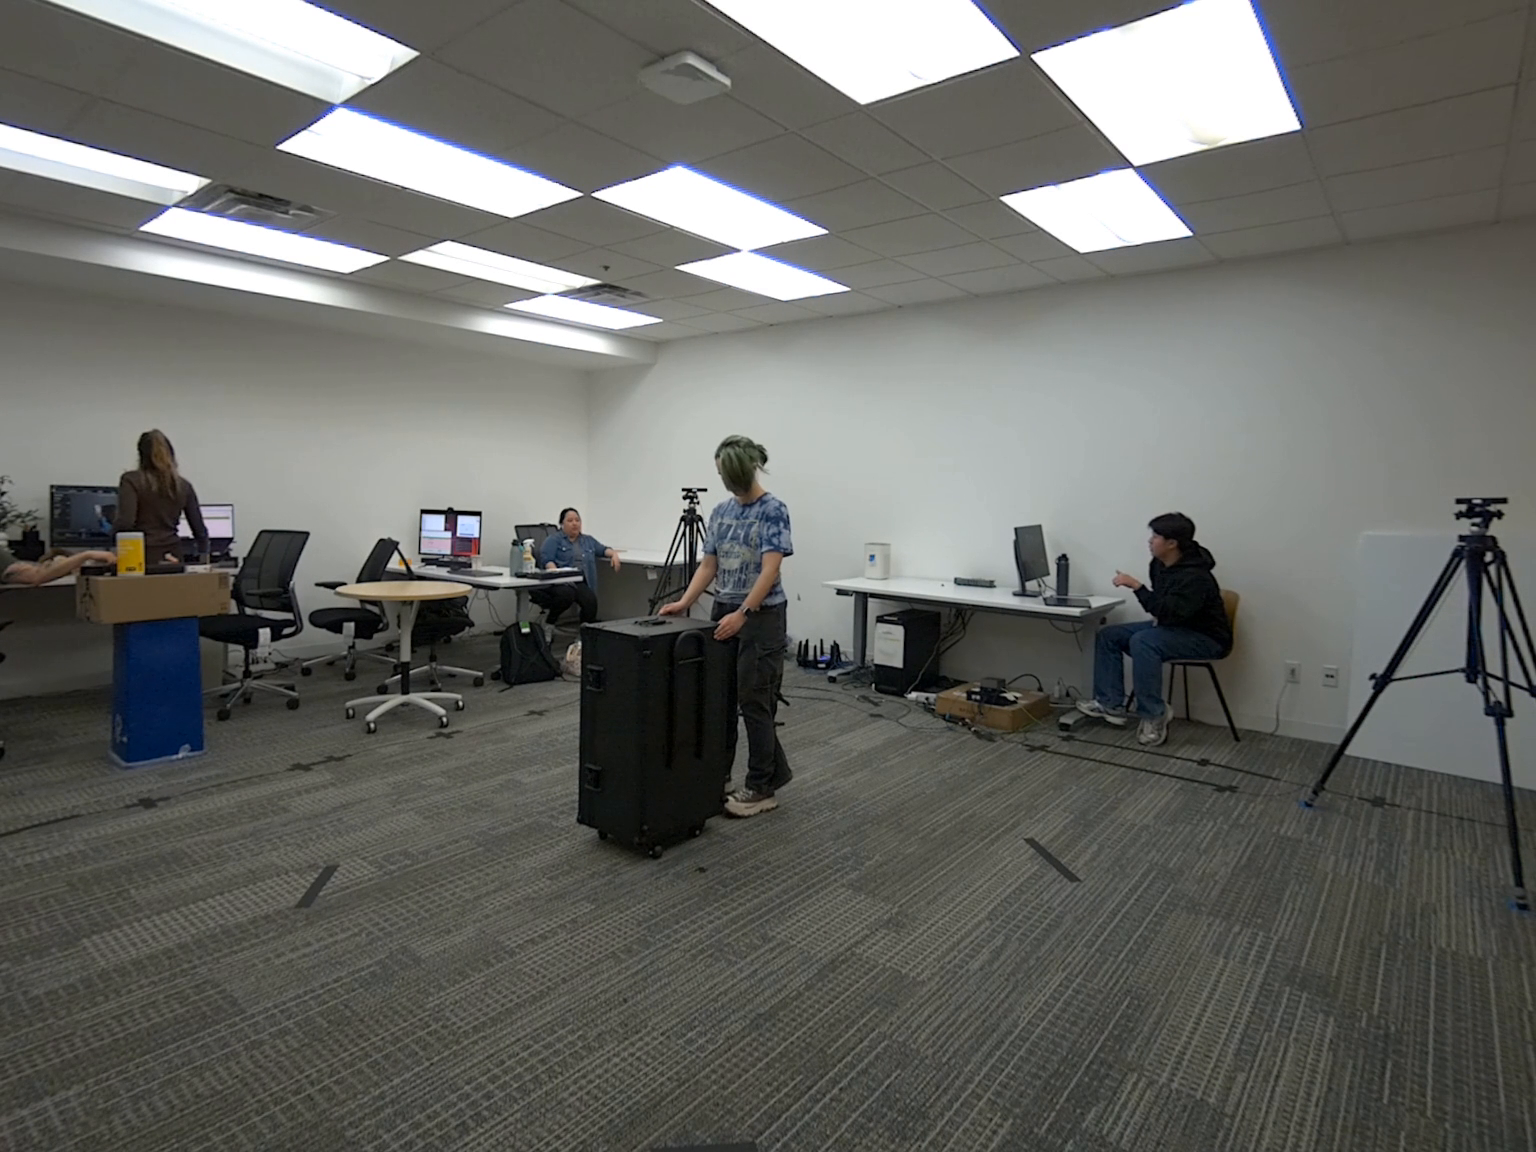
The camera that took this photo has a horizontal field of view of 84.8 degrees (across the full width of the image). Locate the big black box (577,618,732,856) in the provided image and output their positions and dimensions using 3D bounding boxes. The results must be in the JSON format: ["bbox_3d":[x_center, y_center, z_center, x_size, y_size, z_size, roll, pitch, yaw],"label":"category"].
[{"bbox_3d":[-0.460,0.616,3.386,0.410,0.859,0.505,5,4,39],"label":"big black box"}]
